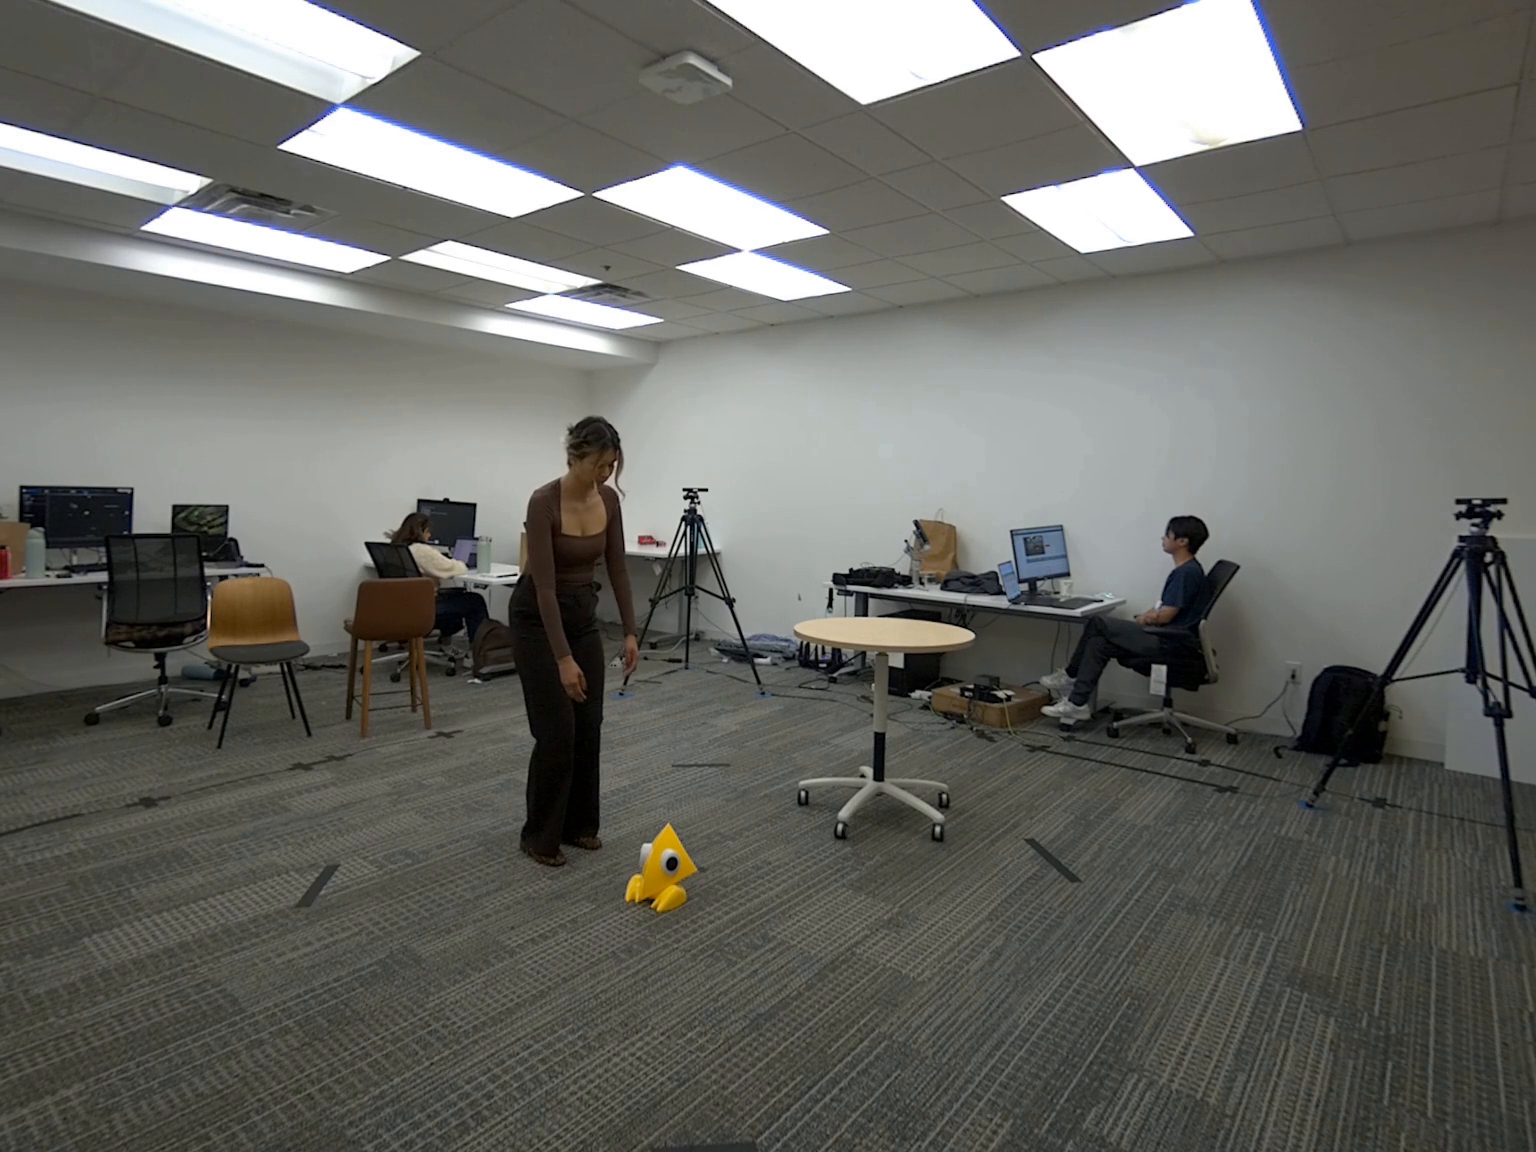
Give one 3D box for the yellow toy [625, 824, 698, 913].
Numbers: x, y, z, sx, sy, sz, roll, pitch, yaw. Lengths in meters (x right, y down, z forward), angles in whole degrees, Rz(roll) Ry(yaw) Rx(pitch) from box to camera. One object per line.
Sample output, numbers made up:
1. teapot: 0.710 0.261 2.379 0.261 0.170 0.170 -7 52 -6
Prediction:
1. yellow toy: -0.383 0.979 2.890 0.211 0.230 0.188 4 5 29
